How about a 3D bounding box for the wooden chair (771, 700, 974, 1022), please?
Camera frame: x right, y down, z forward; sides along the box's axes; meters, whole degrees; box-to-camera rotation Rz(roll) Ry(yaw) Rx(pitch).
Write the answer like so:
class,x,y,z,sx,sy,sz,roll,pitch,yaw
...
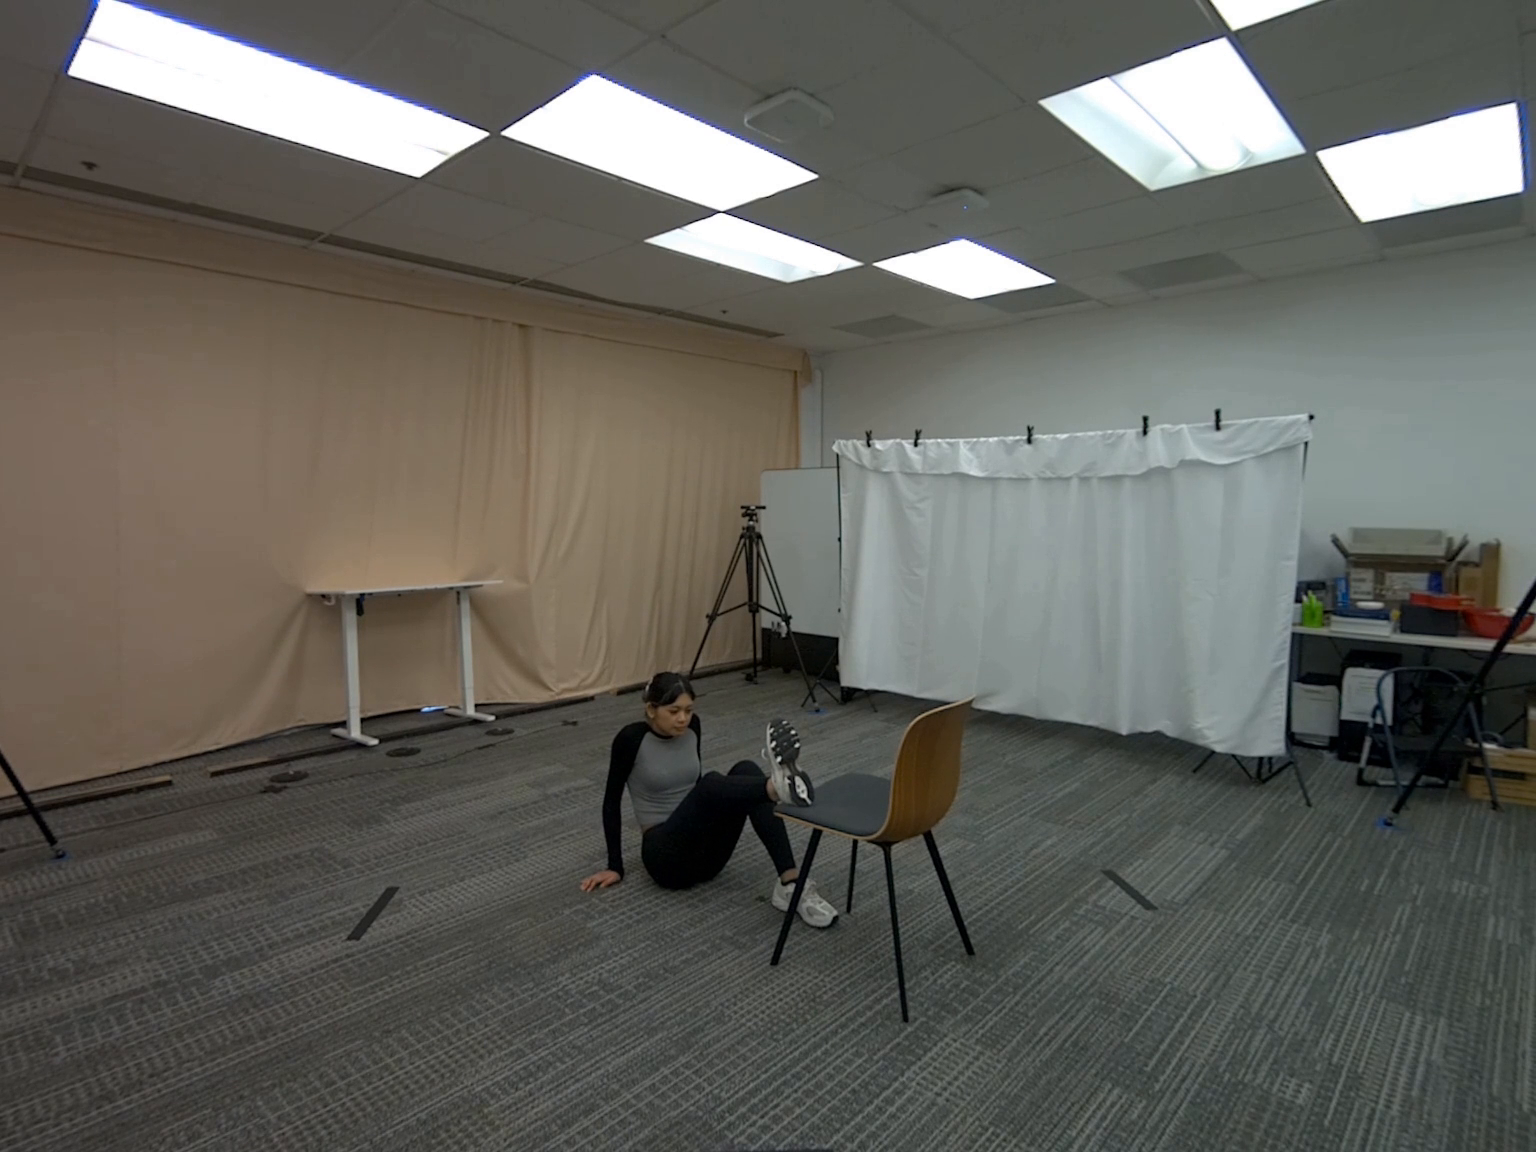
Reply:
class,x,y,z,sx,sy,sz,roll,pitch,yaw
wooden chair,0.320,0.750,2.555,0.541,0.874,0.464,8,8,38
